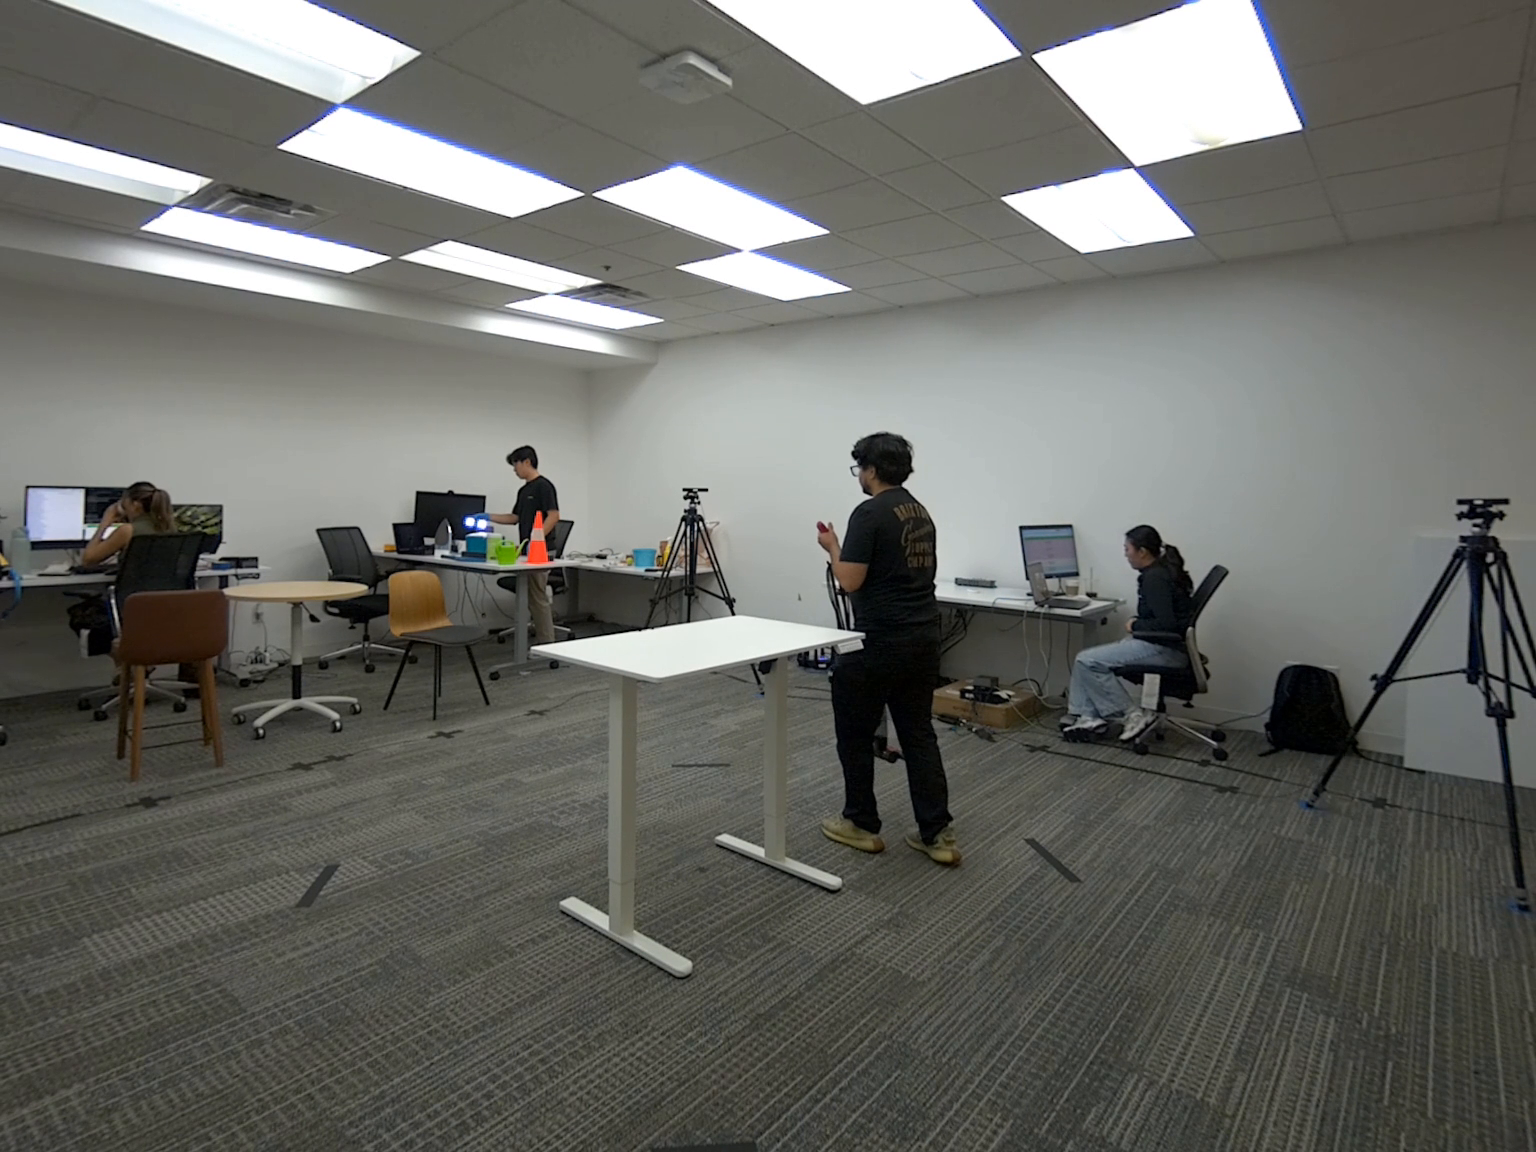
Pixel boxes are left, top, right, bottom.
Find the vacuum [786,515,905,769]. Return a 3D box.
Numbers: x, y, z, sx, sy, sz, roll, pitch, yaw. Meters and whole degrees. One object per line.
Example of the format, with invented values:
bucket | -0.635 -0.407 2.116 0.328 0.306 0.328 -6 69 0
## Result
vacuum | 0.351 0.268 3.509 0.142 1.036 0.260 -23 12 -31
